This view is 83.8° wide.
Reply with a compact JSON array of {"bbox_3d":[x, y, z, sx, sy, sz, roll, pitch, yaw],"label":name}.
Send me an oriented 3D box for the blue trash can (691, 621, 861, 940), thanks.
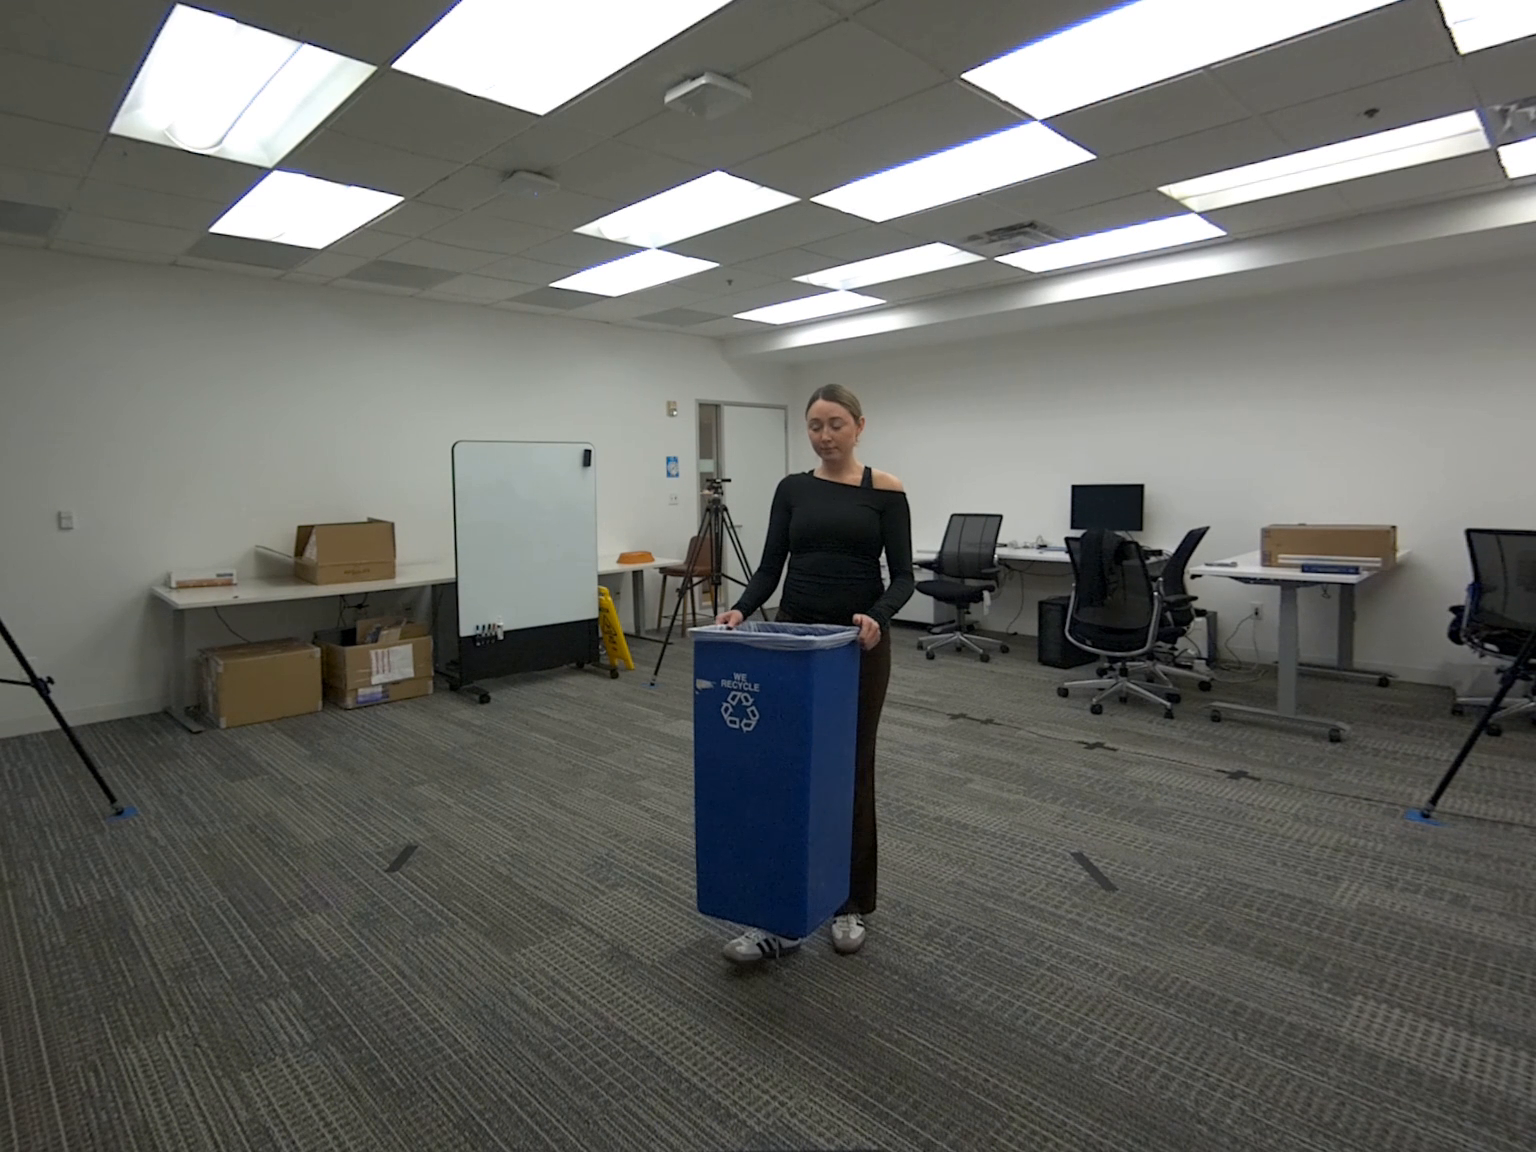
[{"bbox_3d":[0.028,0.502,2.211,0.383,0.714,0.368,0,-1,28],"label":"blue trash can"}]
